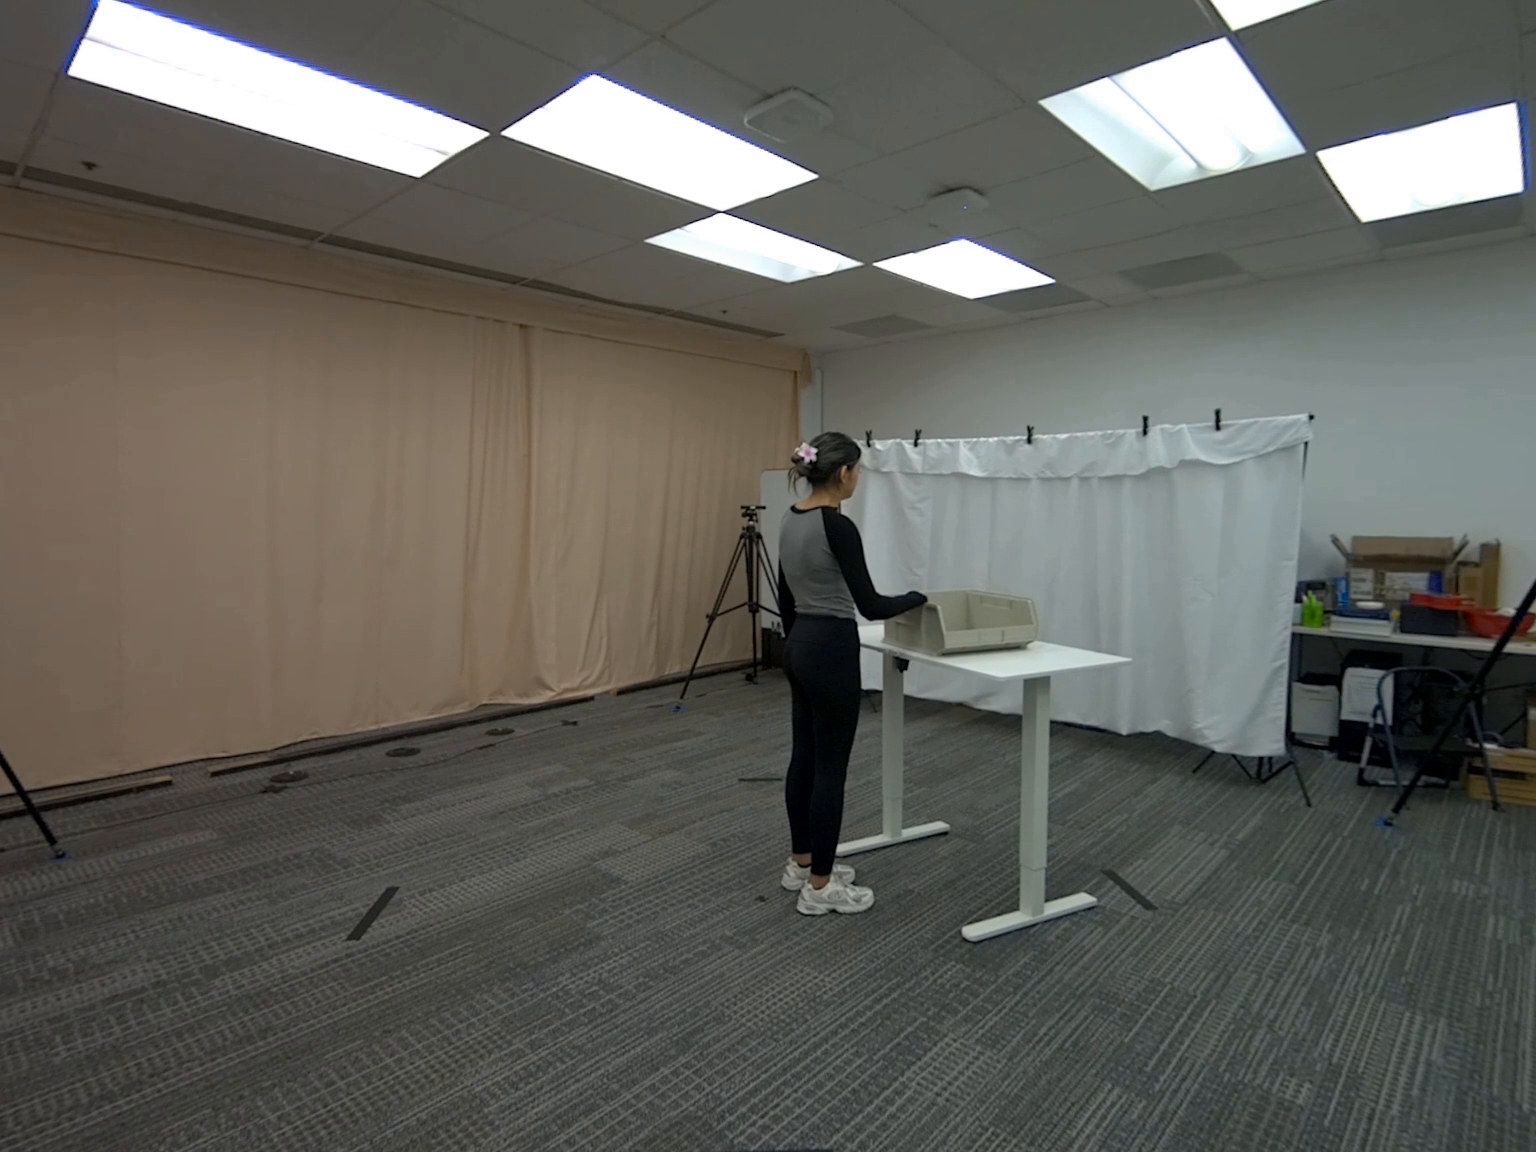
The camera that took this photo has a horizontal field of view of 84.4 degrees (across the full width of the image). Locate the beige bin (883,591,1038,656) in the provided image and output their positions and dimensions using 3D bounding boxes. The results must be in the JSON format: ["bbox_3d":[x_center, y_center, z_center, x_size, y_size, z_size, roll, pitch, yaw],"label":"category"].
[{"bbox_3d":[0.689,0.168,3.036,0.412,0.188,0.387,-3,4,-25],"label":"beige bin"}]
